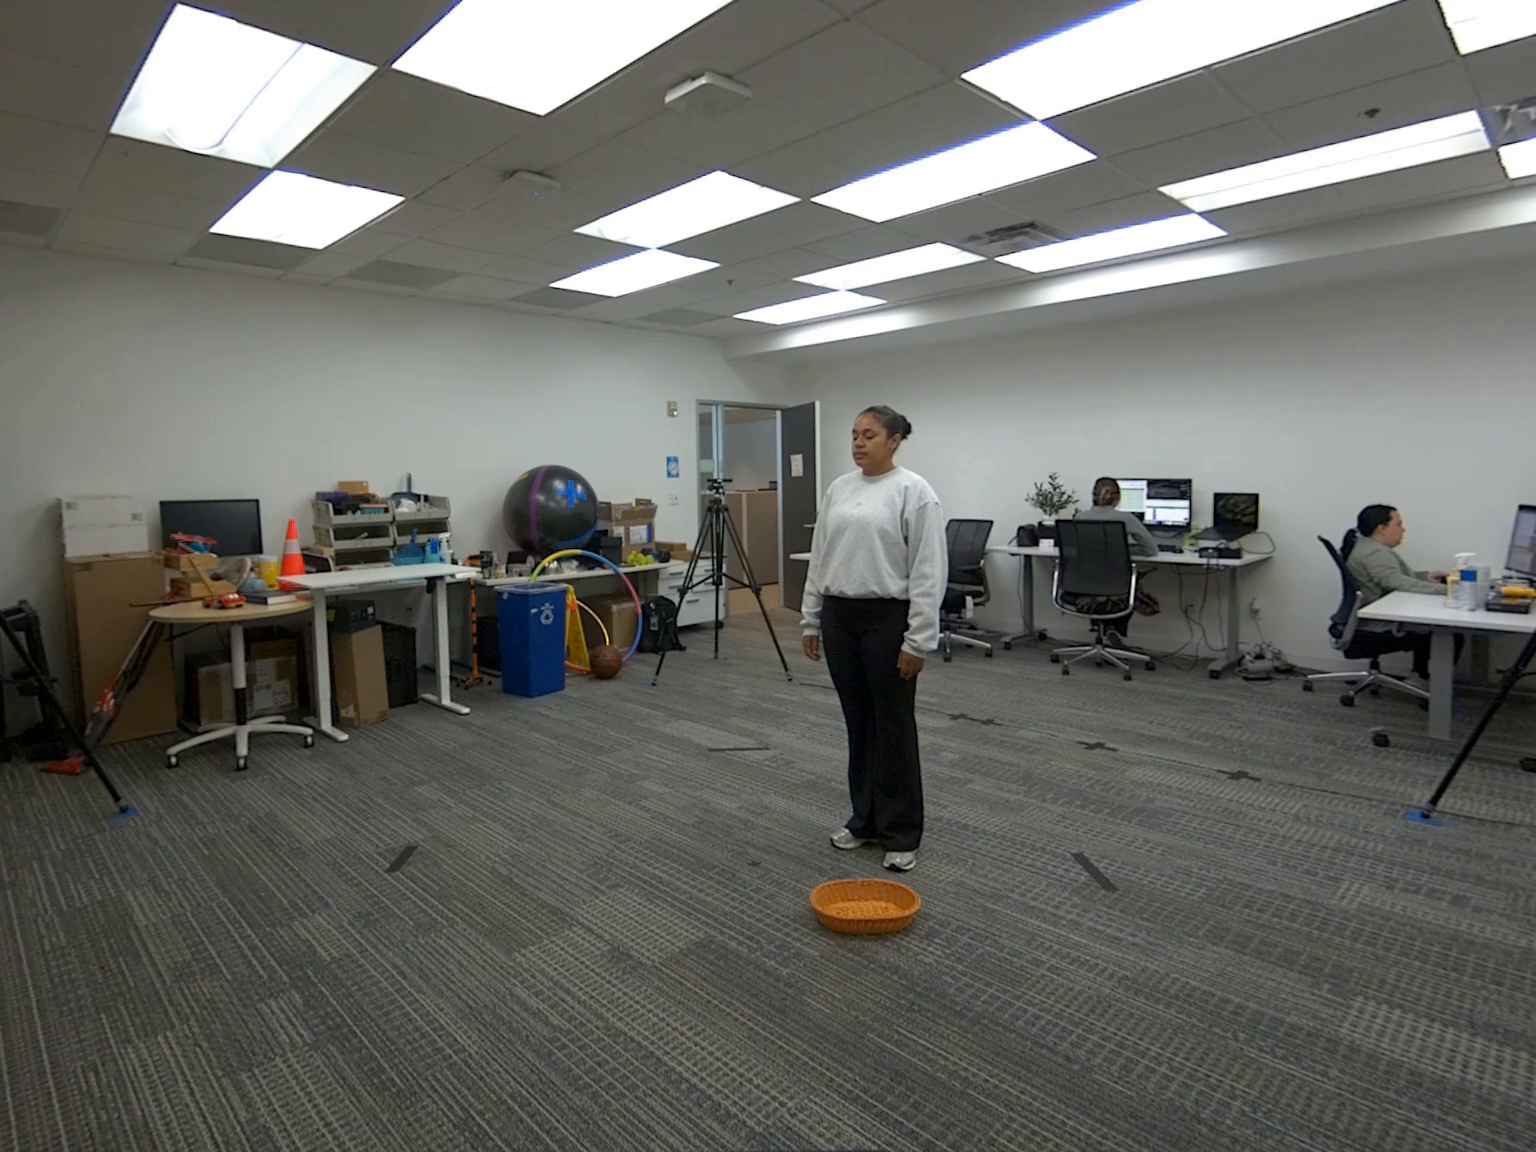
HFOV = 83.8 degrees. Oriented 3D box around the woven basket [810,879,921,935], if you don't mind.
[{"bbox_3d":[0.303,1.046,2.700,0.351,0.073,0.253,-1,6,2],"label":"woven basket"}]
